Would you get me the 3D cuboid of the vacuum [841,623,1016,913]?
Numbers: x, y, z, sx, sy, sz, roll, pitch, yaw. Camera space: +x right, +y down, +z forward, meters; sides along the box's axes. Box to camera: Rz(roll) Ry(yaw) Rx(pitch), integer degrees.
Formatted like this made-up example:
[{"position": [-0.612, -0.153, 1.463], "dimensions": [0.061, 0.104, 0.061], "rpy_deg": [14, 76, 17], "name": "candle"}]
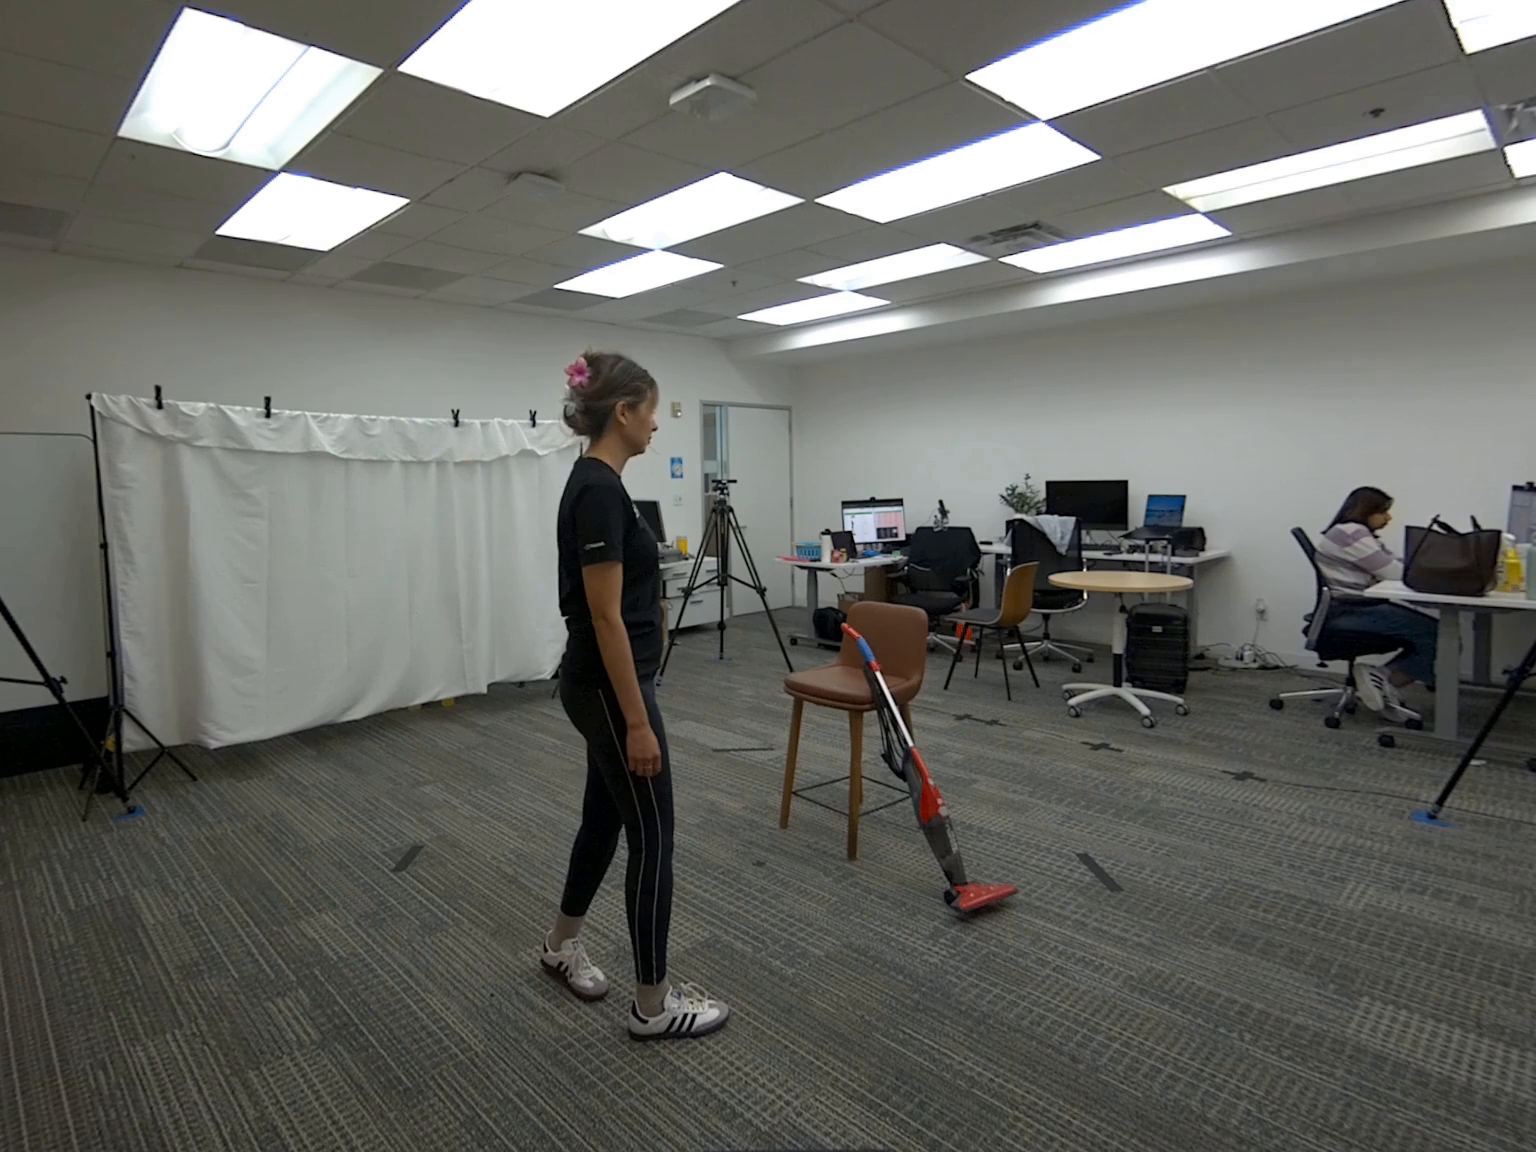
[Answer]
[{"position": [0.498, 0.630, 3.018], "dimensions": [0.246, 1.083, 0.143], "rpy_deg": [-1, -37, -35], "name": "vacuum"}]
